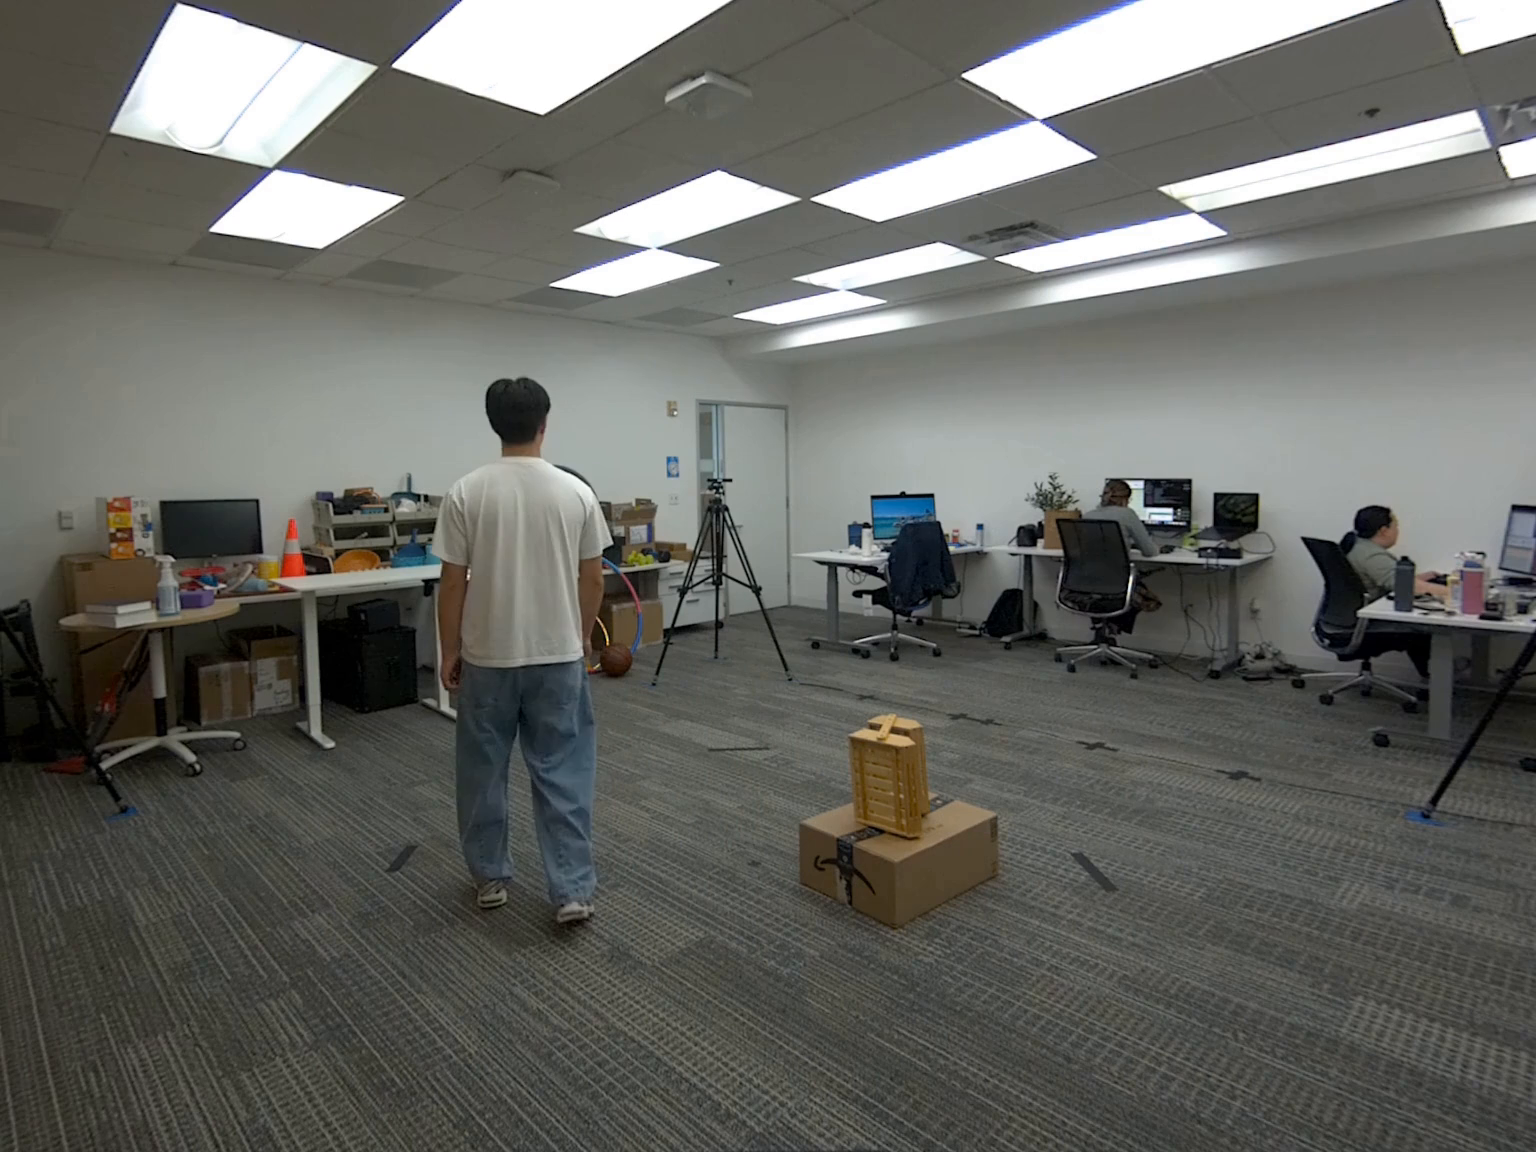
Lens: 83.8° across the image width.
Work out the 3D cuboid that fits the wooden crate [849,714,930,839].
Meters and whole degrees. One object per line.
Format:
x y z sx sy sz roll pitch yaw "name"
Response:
0.455 0.679 2.958 0.267 0.323 0.311 -9 6 -43 "wooden crate"
